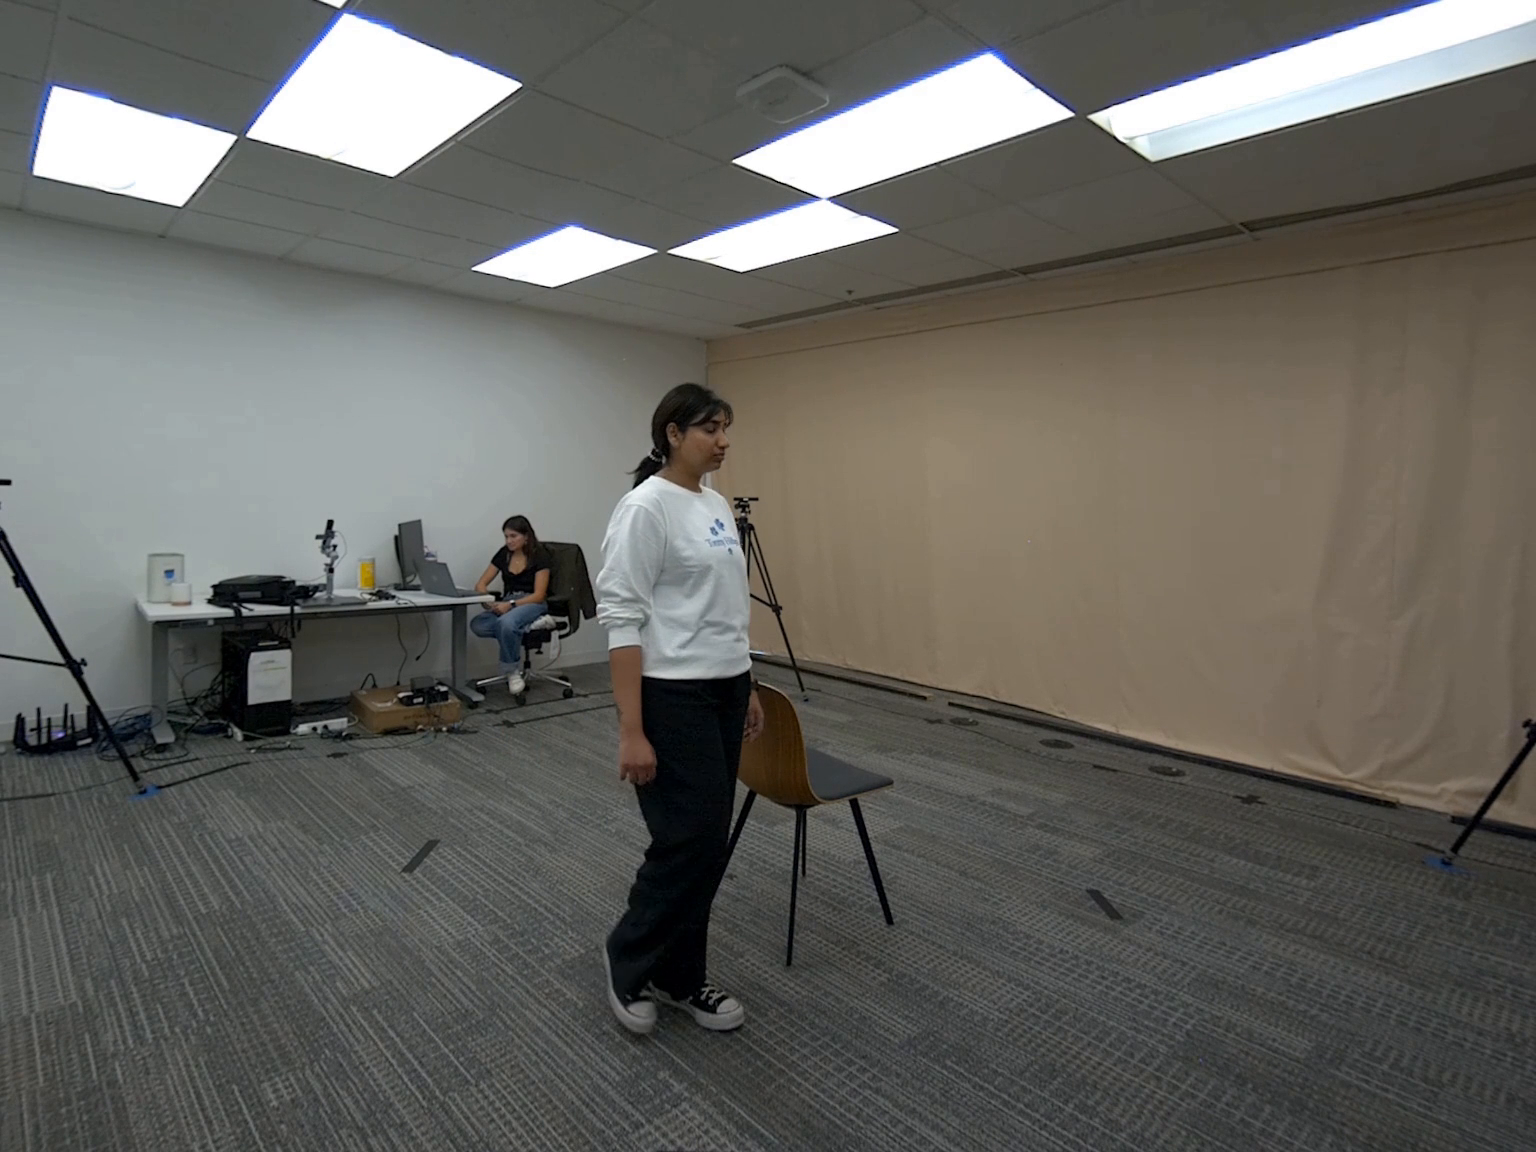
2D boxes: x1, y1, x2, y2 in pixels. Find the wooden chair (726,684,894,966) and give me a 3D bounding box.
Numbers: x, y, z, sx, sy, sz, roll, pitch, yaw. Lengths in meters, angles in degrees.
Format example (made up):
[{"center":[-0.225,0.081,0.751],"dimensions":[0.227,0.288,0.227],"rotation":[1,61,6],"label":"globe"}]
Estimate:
[{"center":[0.111,0.715,2.795],"dimensions":[0.513,0.873,0.490],"rotation":[-7,7,-37],"label":"wooden chair"}]
